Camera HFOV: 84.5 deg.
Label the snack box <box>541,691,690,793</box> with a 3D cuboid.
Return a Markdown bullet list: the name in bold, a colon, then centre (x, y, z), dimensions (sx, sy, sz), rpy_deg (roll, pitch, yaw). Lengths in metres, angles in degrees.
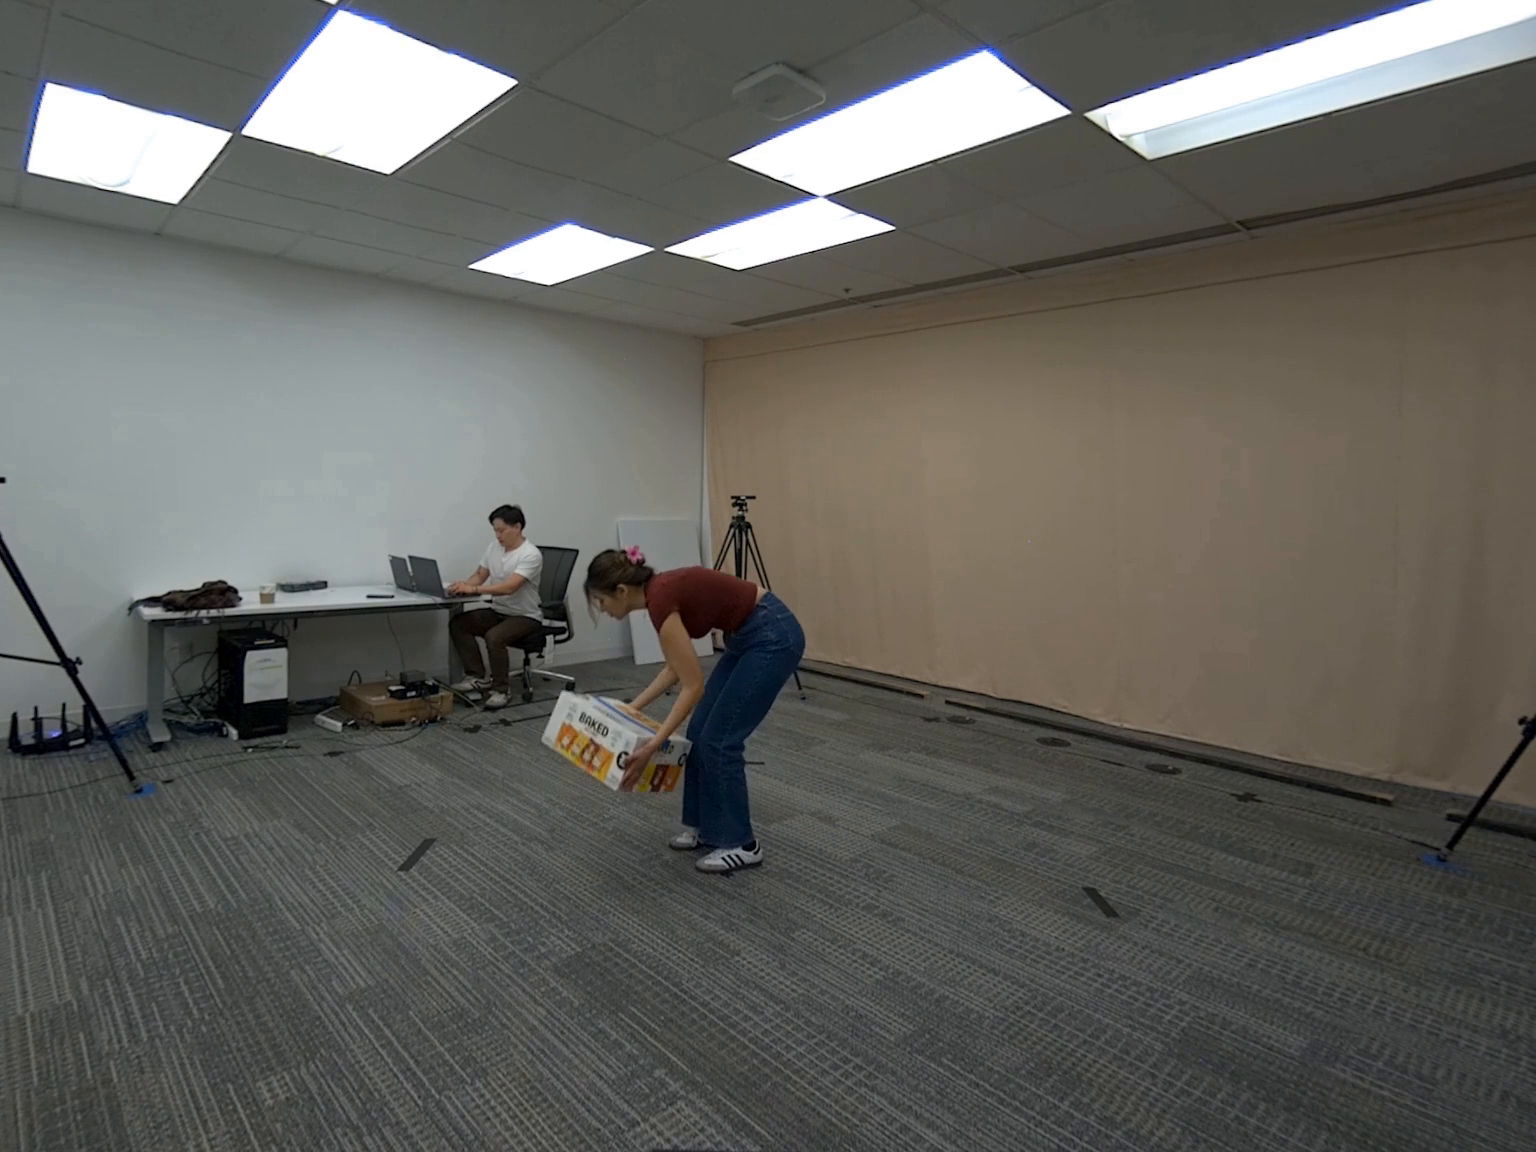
- **snack box**: centre (-0.564, 0.615, 3.145), dimensions (0.416, 0.206, 0.330), rpy_deg (21, -2, 33)
